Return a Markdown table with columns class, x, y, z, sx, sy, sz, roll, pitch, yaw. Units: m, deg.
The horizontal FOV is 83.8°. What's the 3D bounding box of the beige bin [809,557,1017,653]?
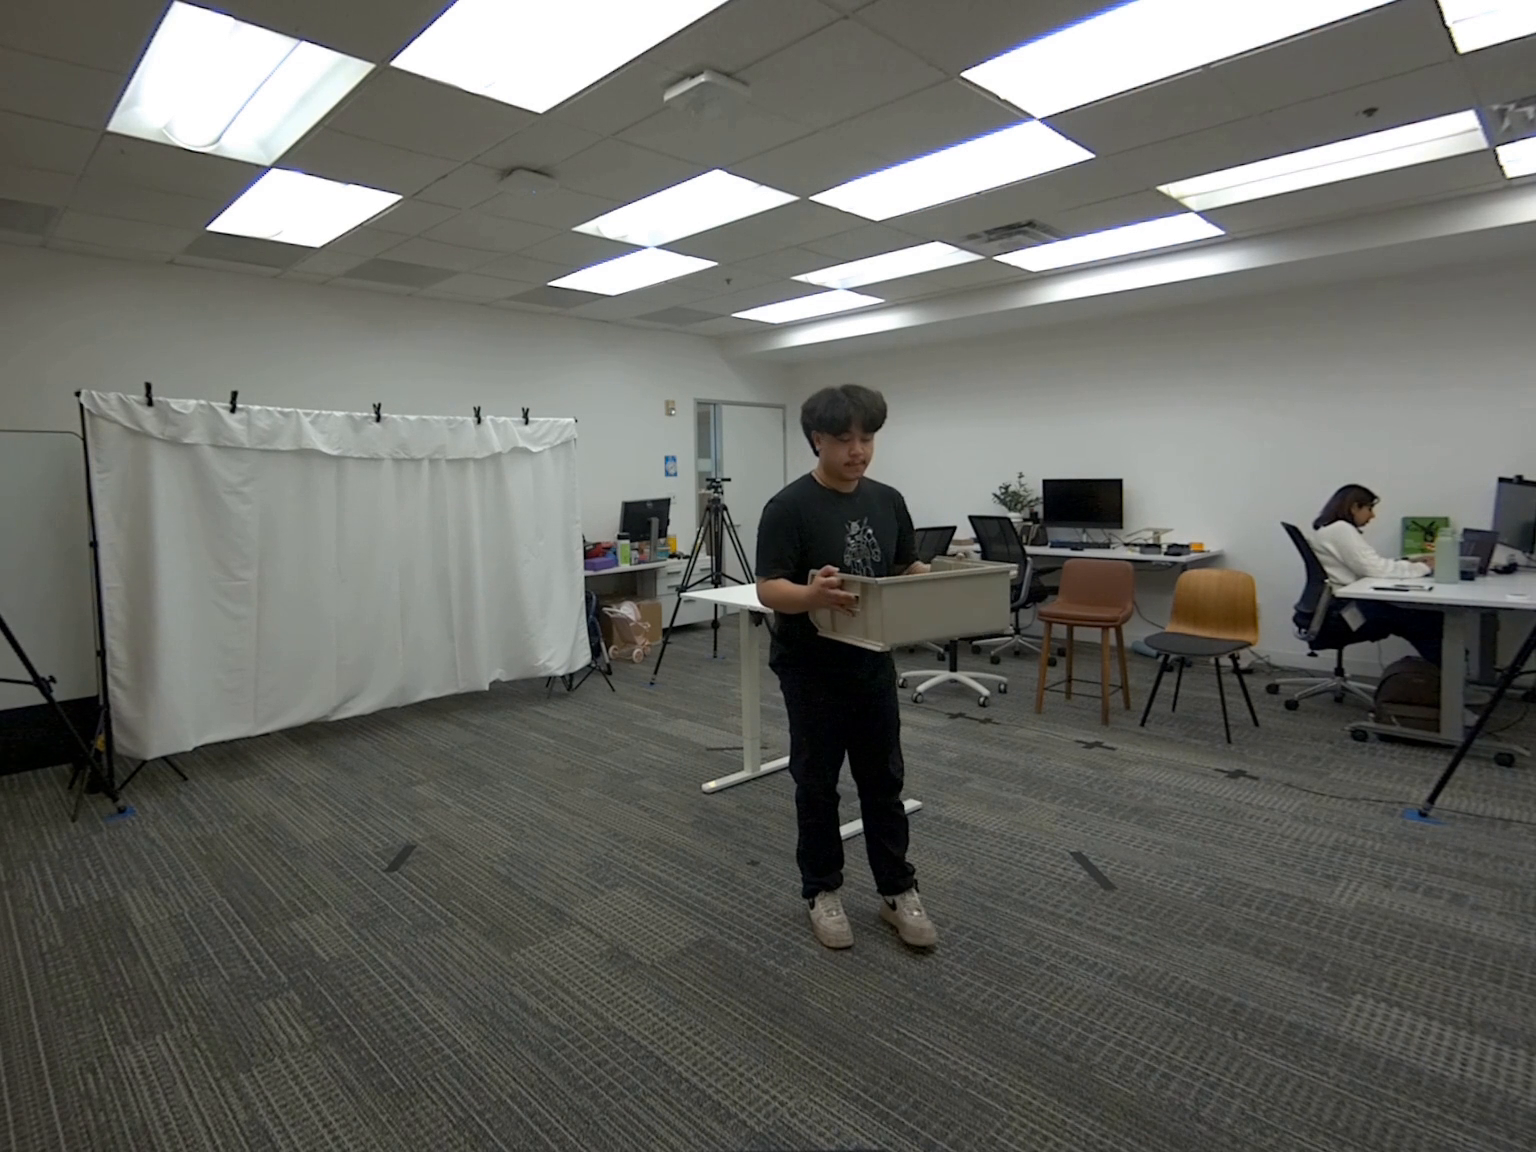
| class | x | y | z | sx | sy | sz | roll | pitch | yaw |
| --- | --- | --- | --- | --- | --- | --- | --- | --- | --- |
| beige bin | 0.380 | 0.069 | 2.292 | 0.414 | 0.188 | 0.386 | -6 | 7 | -24 |
